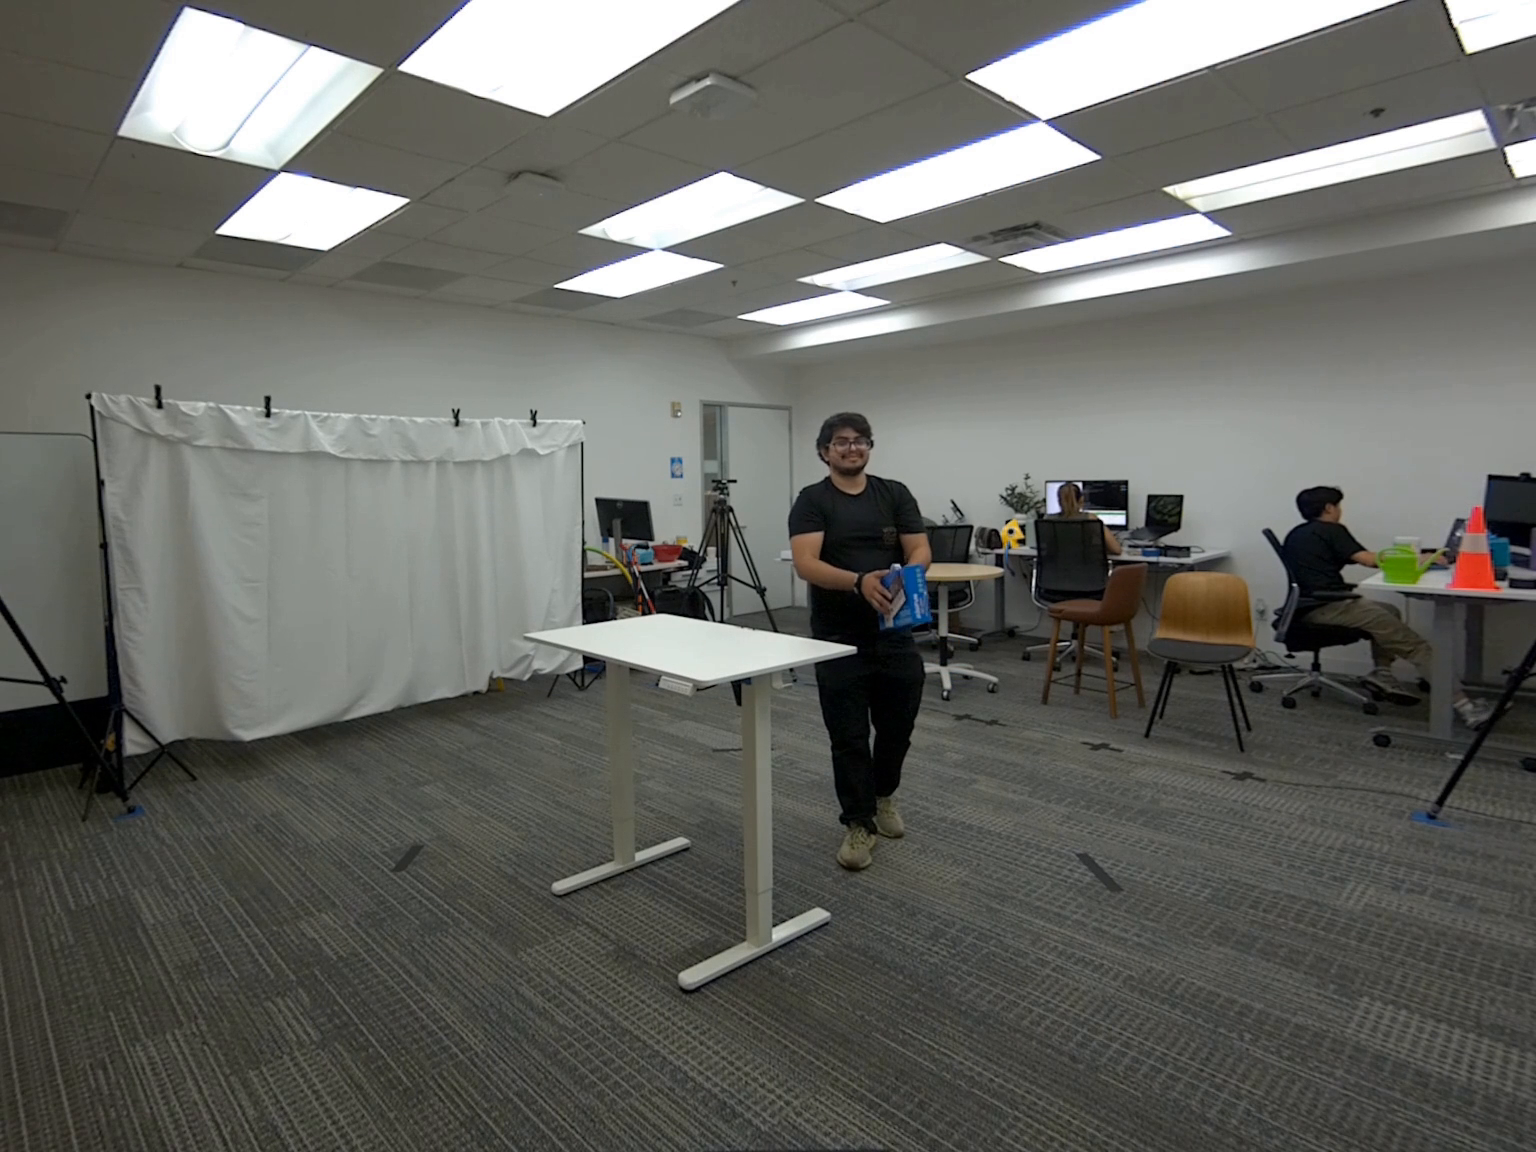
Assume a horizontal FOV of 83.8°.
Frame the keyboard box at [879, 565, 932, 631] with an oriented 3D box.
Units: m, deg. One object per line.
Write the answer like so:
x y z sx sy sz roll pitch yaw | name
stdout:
0.422 0.082 2.731 0.059 0.177 0.435 -5 -7 -6 | keyboard box
